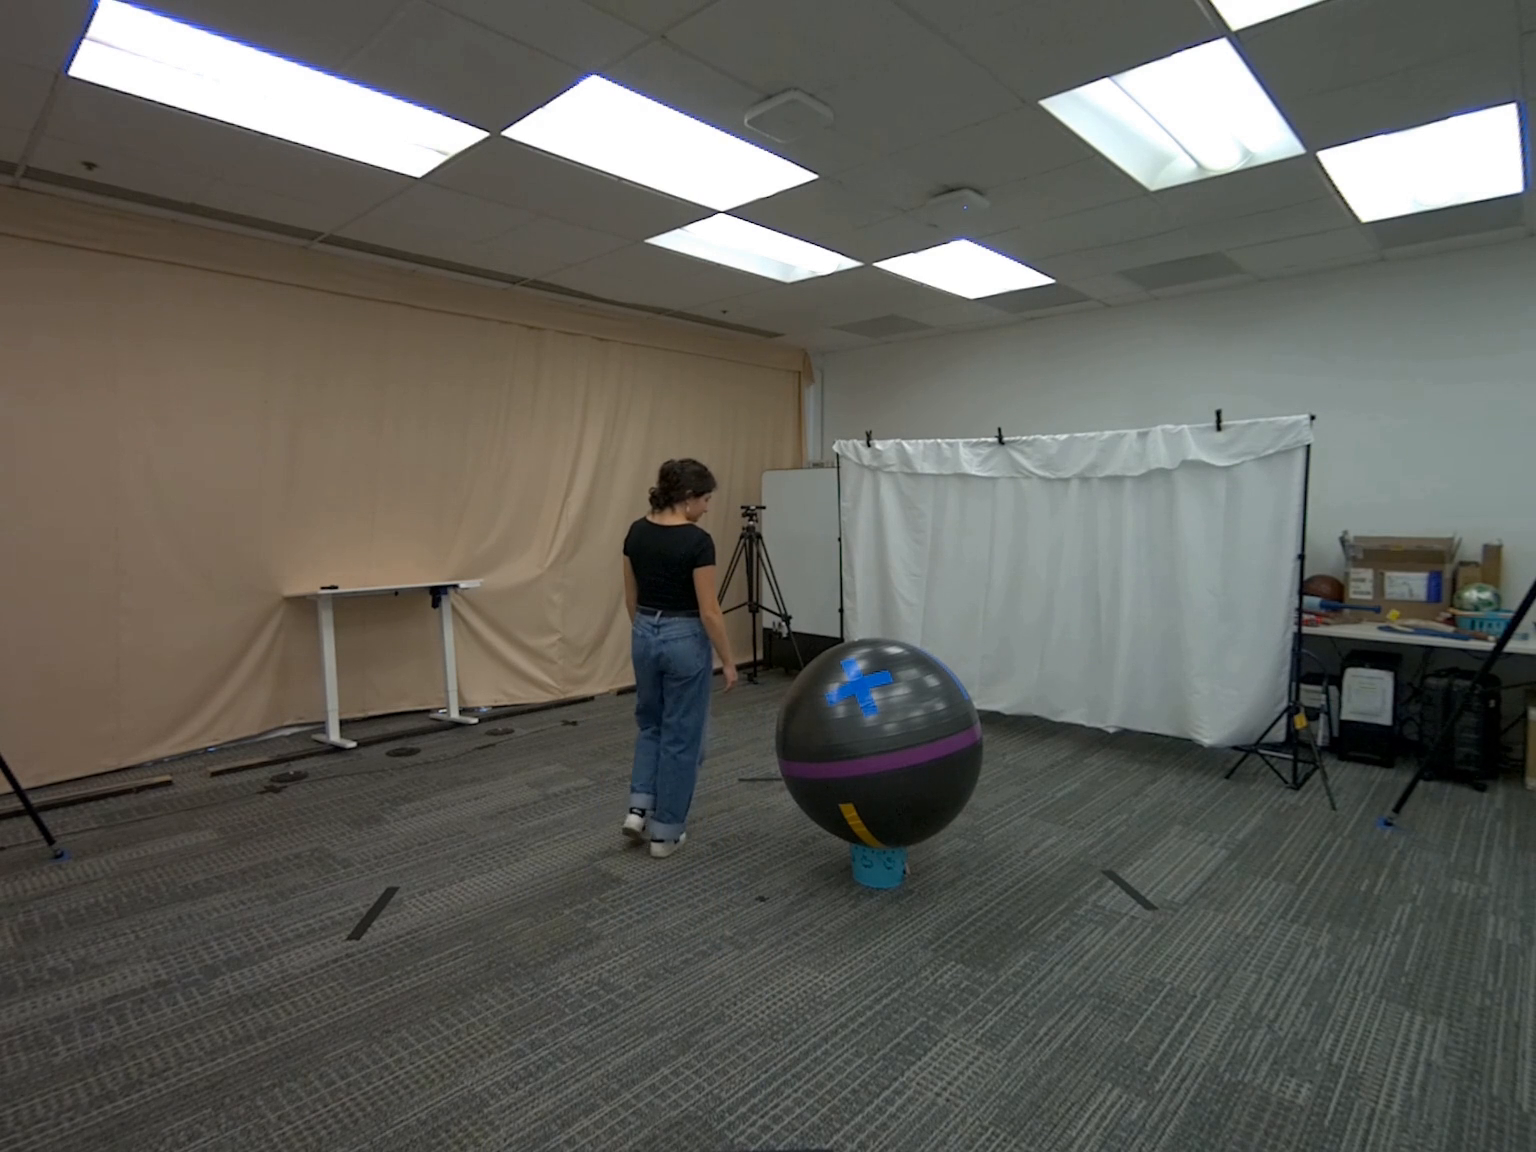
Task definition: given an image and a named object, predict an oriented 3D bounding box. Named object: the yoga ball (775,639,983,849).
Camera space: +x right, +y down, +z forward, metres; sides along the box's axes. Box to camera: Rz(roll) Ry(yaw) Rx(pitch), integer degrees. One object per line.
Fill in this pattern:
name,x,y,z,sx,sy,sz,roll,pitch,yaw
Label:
yoga ball,0.415,0.618,3.139,0.757,0.756,0.760,0,4,-2
